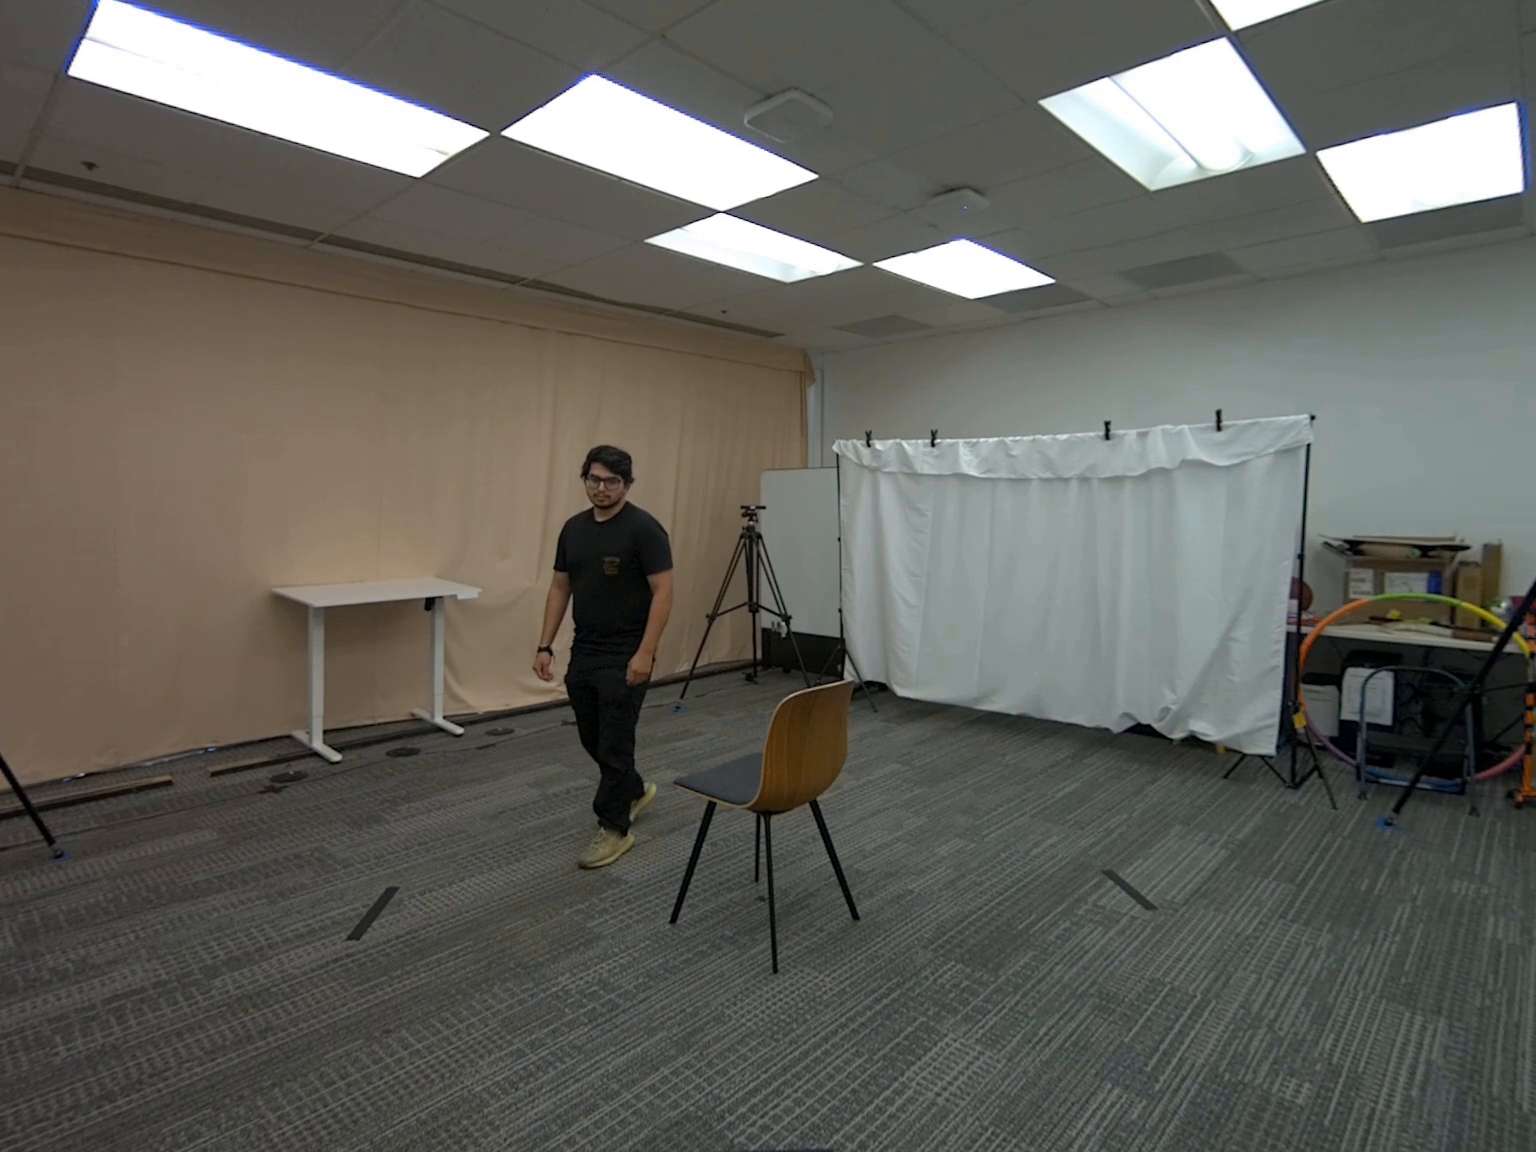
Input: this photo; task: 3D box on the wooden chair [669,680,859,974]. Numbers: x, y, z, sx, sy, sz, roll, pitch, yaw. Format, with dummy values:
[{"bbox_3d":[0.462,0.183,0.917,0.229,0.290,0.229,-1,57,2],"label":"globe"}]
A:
[{"bbox_3d":[-0.014,0.731,2.795,0.541,0.874,0.463,9,9,41],"label":"wooden chair"}]
